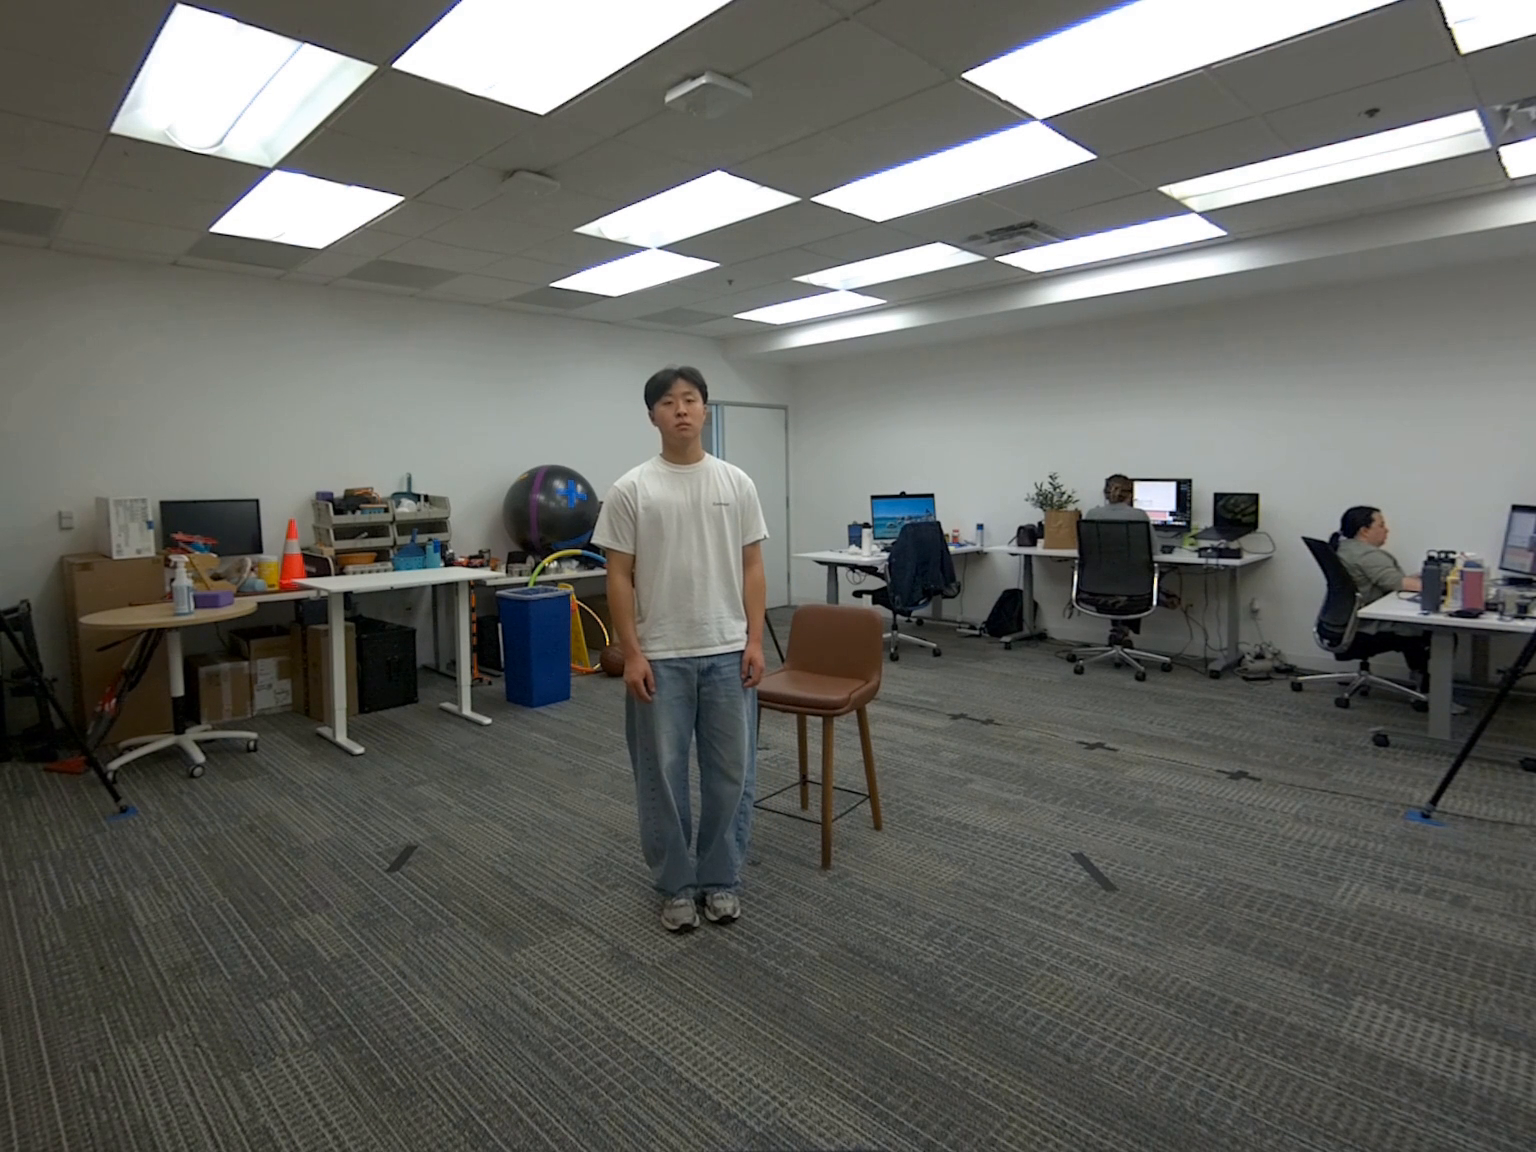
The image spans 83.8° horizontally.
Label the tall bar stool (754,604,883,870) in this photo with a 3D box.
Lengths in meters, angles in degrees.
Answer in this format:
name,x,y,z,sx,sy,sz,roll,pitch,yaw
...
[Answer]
name,x,y,z,sx,sy,sz,roll,pitch,yaw
tall bar stool,0.179,0.580,3.316,0.470,0.888,0.455,2,3,37
